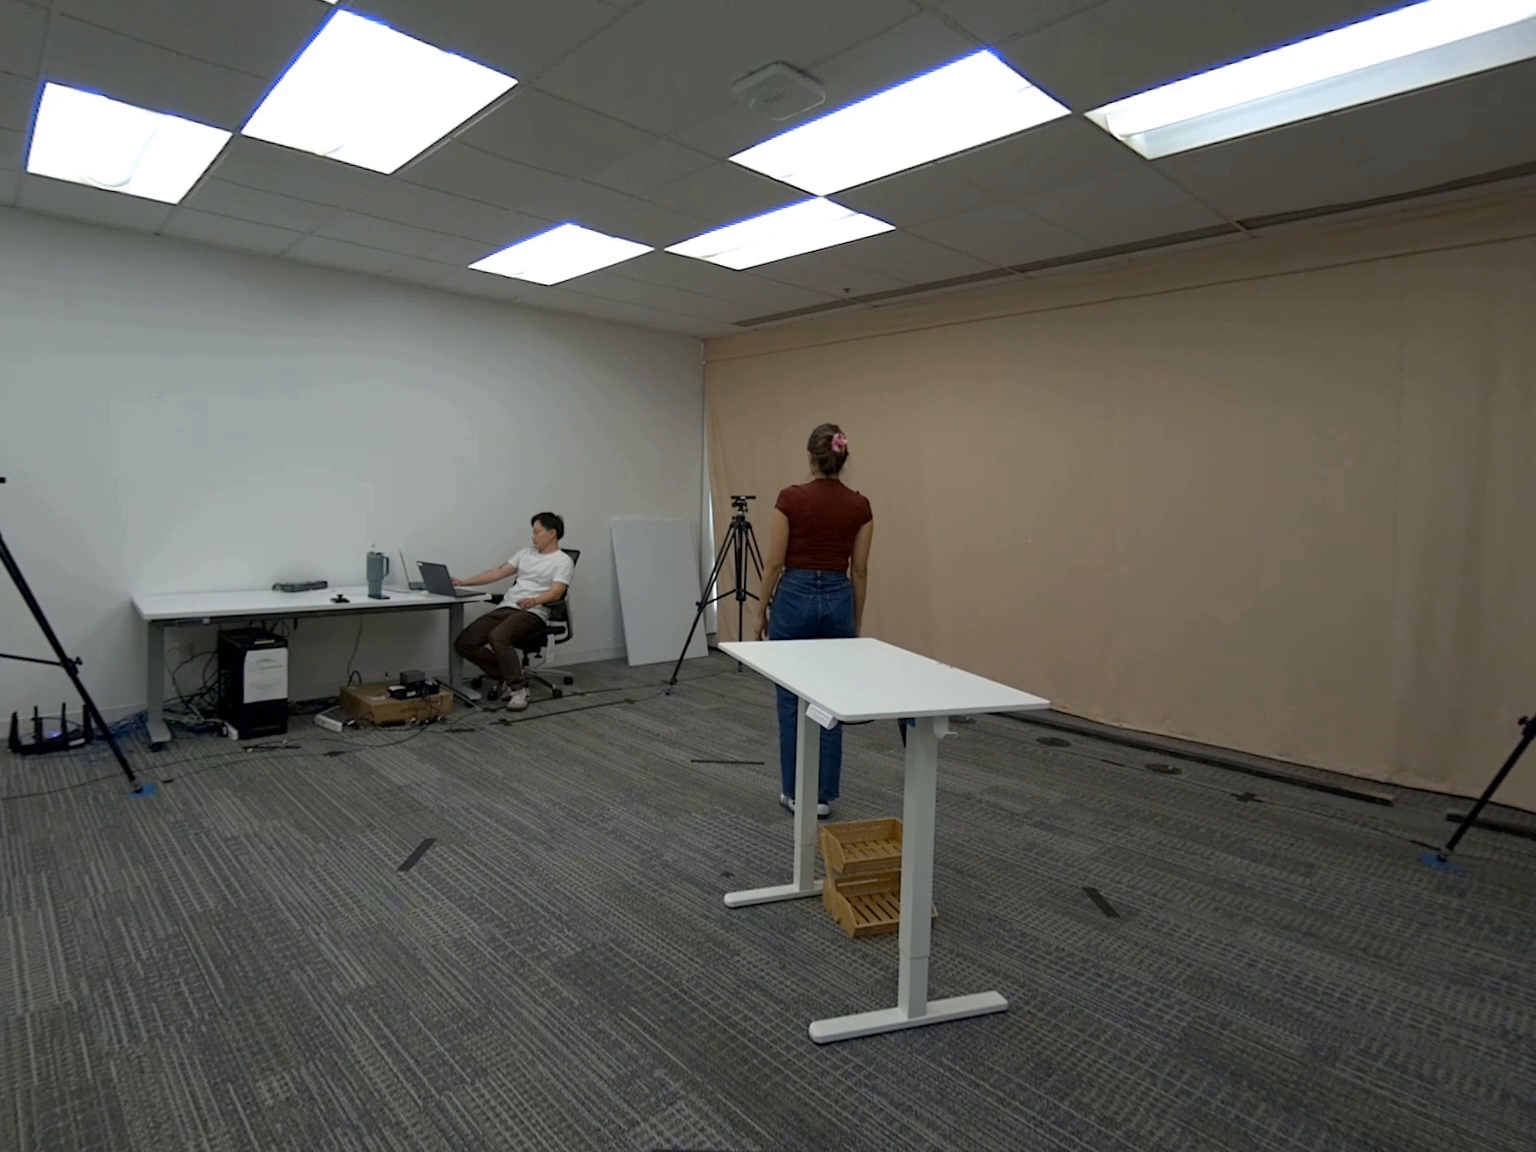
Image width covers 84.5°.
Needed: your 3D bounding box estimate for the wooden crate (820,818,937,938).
[{"bbox_3d":[0.360,1.005,2.827,0.320,0.272,0.307,0,4,-19],"label":"wooden crate"}]
